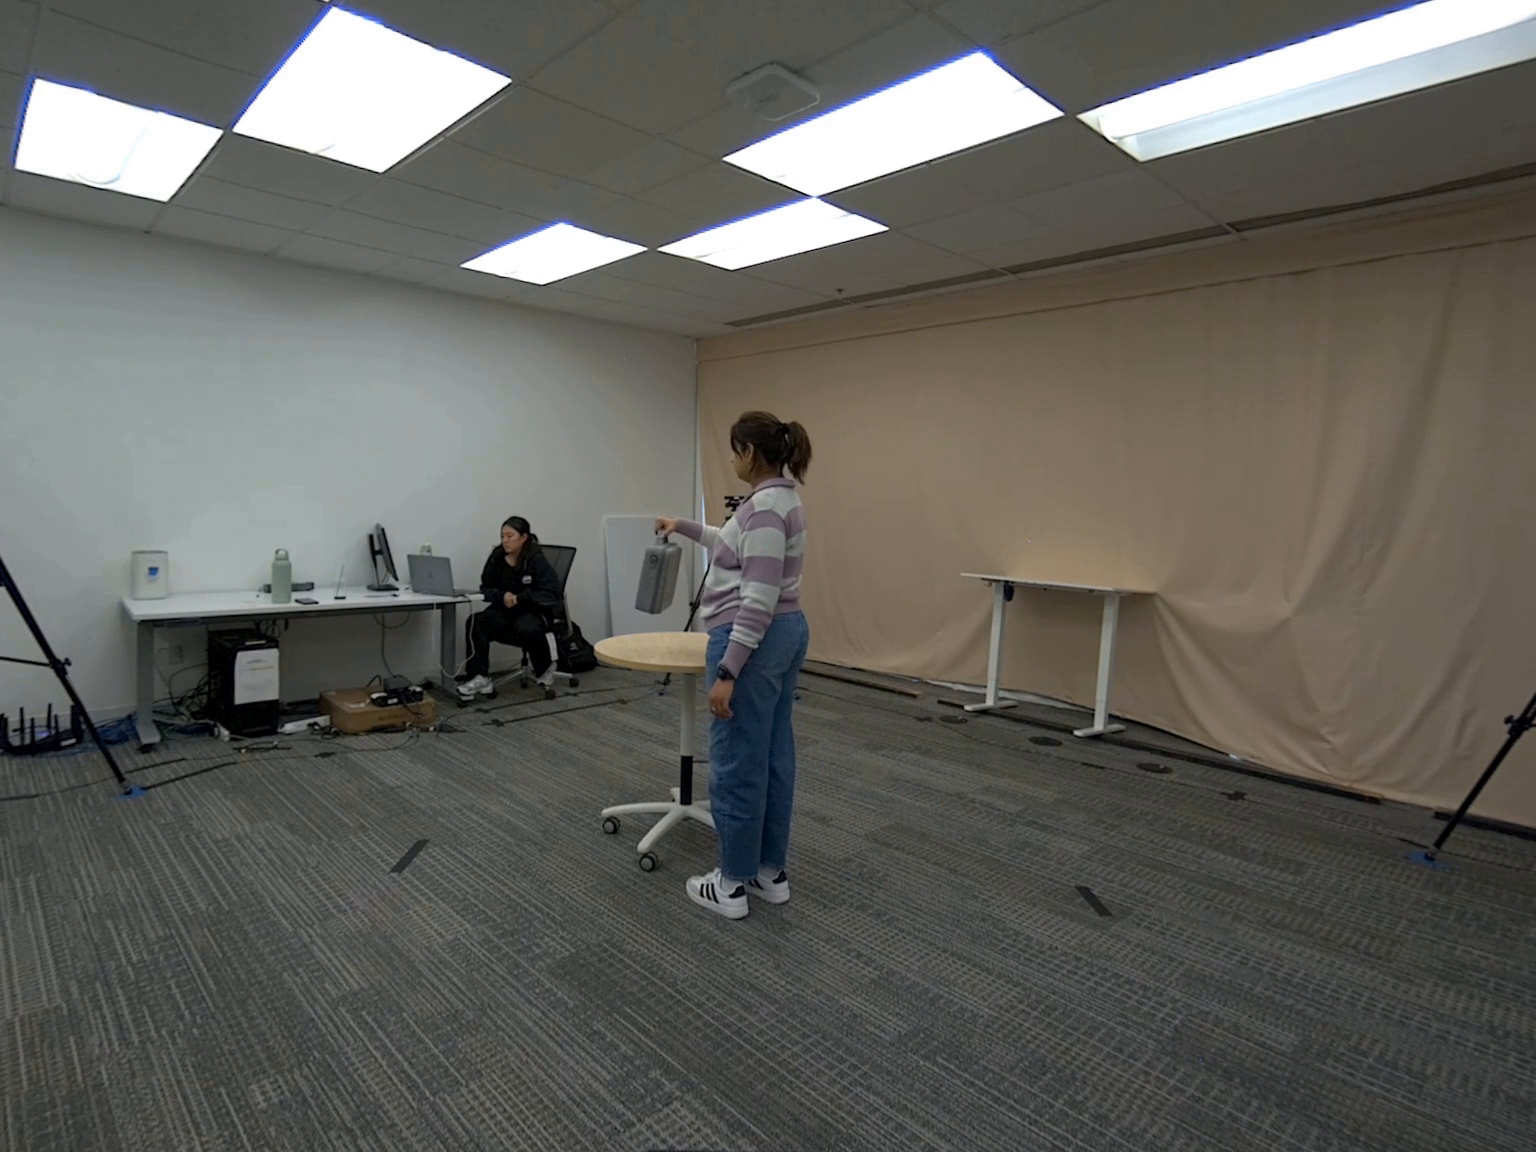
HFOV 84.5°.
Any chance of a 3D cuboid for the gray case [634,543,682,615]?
[{"bbox_3d":[-0.418,0.002,3.189,0.105,0.260,0.256,11,5,5],"label":"gray case"}]
